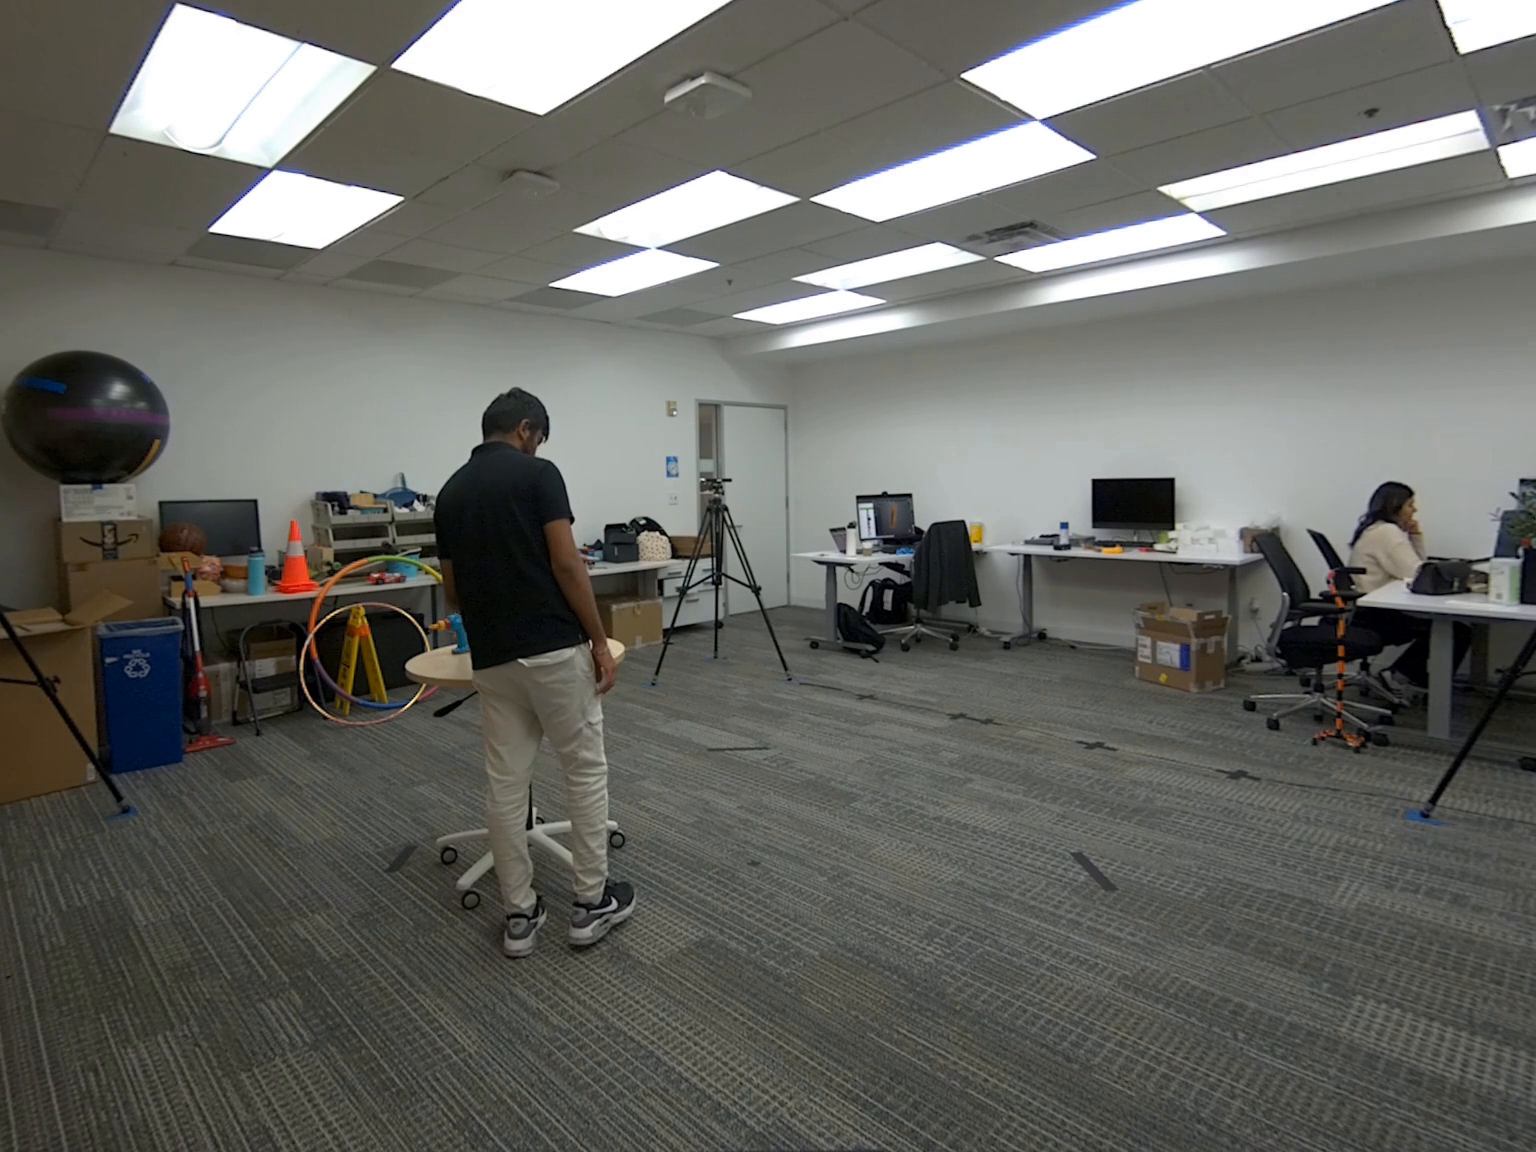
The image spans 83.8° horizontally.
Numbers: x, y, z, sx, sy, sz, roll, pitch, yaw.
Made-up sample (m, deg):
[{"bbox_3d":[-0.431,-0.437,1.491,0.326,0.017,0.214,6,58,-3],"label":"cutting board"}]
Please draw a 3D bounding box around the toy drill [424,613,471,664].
[{"bbox_3d":[-1.154,0.219,3.112,0.063,0.145,0.166,3,9,34],"label":"toy drill"}]
